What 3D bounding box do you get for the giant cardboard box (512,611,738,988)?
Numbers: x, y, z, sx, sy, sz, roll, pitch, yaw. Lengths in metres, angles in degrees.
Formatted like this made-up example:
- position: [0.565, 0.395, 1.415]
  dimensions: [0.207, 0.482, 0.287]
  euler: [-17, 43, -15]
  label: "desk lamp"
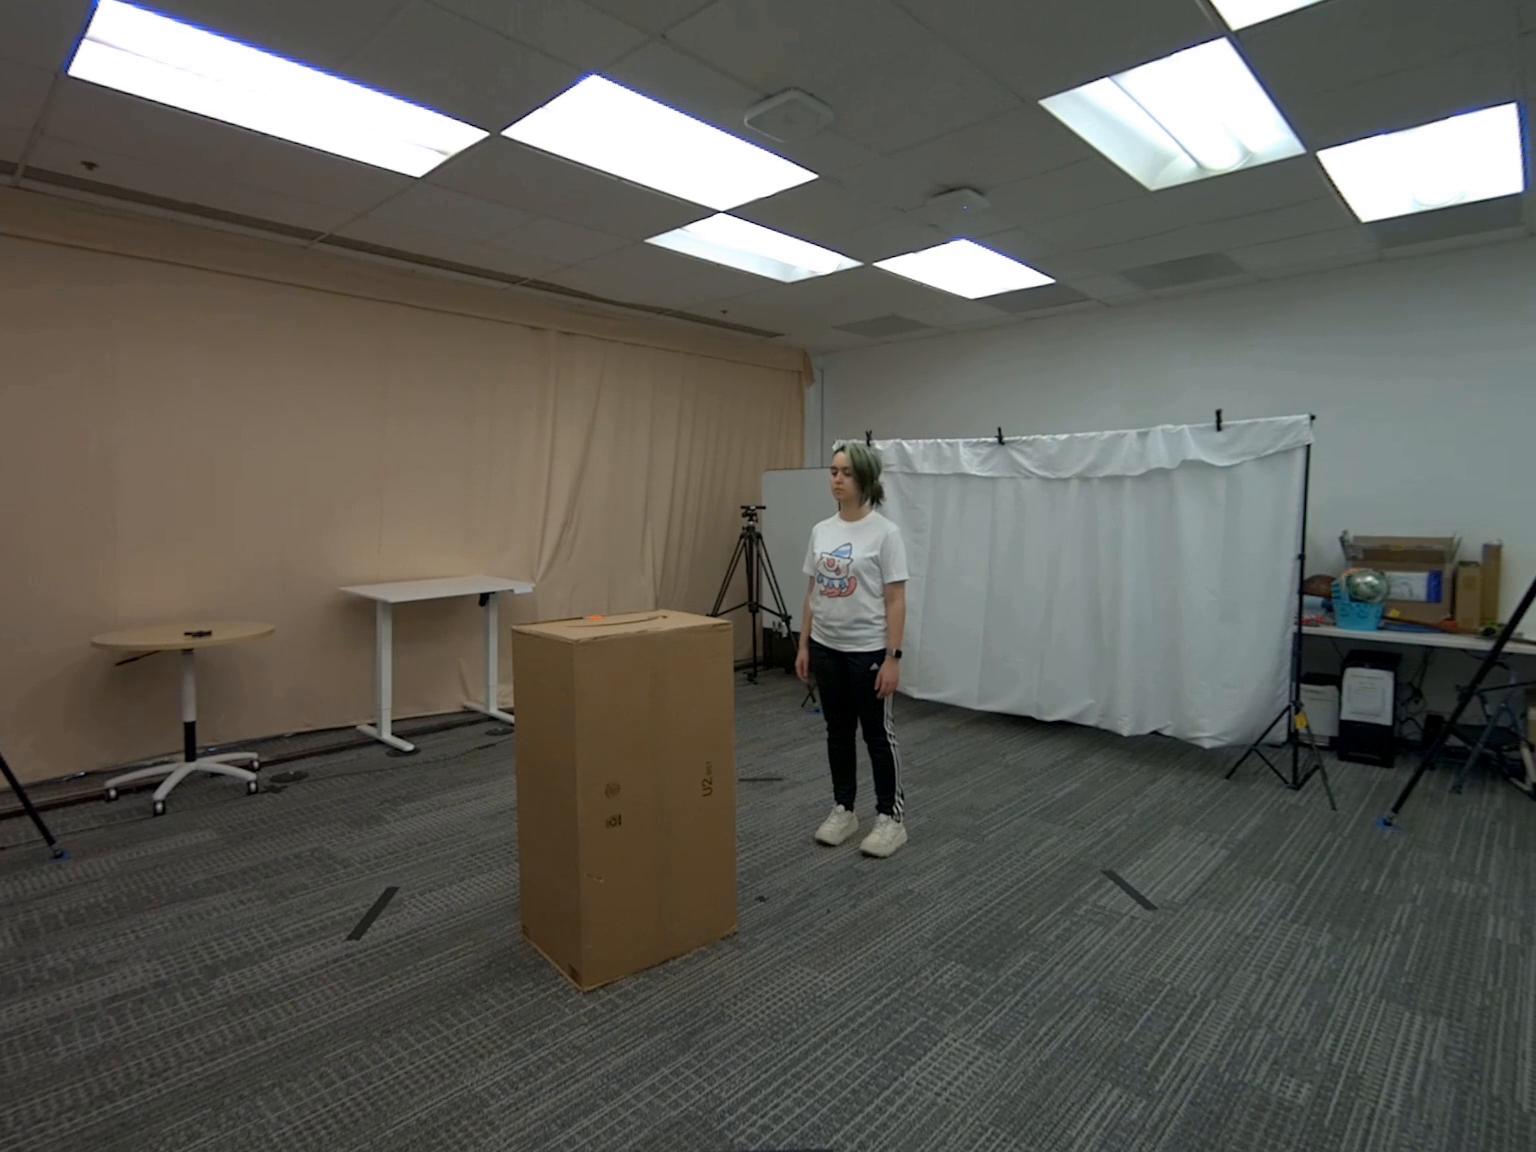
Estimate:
- position: [-0.459, 0.663, 2.716]
  dimensions: [0.566, 1.024, 0.461]
  euler: [-3, 5, -40]
  label: "giant cardboard box"
